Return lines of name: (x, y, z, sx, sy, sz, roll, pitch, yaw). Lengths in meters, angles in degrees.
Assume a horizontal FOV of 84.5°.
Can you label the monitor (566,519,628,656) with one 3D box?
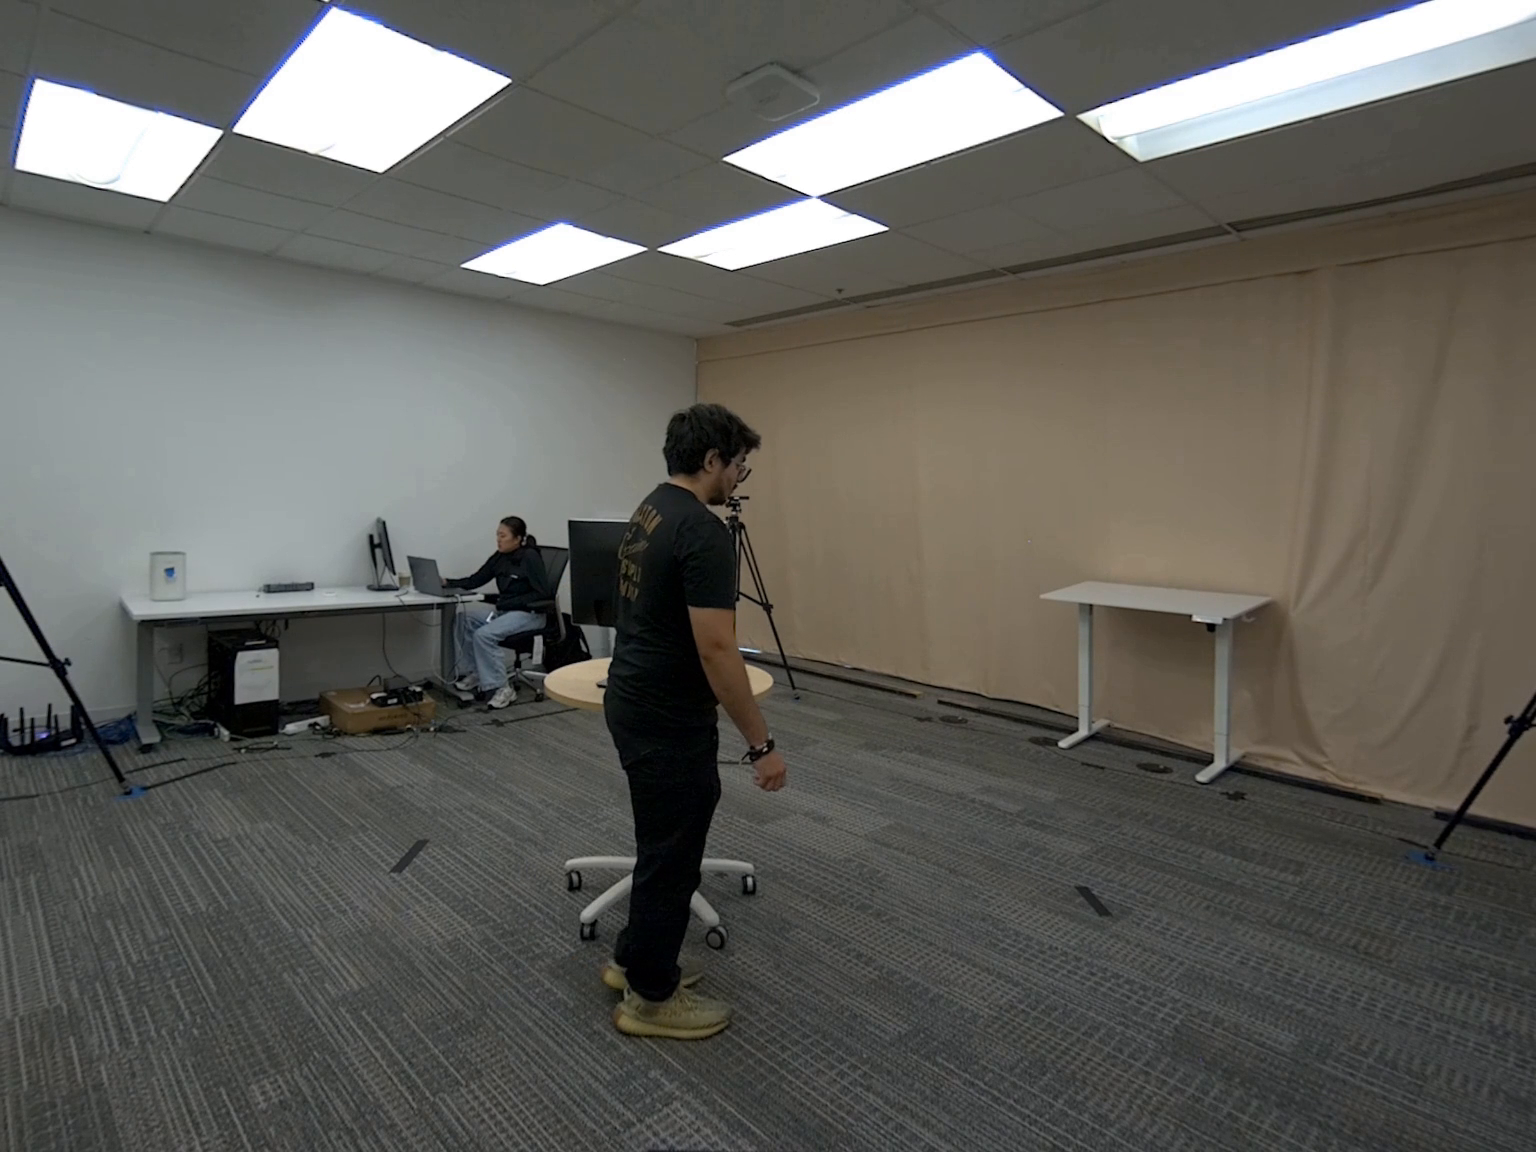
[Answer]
monitor: (-0.417, 0.098, 2.702, 0.573, 0.551, 0.208, 2, 6, 17)
